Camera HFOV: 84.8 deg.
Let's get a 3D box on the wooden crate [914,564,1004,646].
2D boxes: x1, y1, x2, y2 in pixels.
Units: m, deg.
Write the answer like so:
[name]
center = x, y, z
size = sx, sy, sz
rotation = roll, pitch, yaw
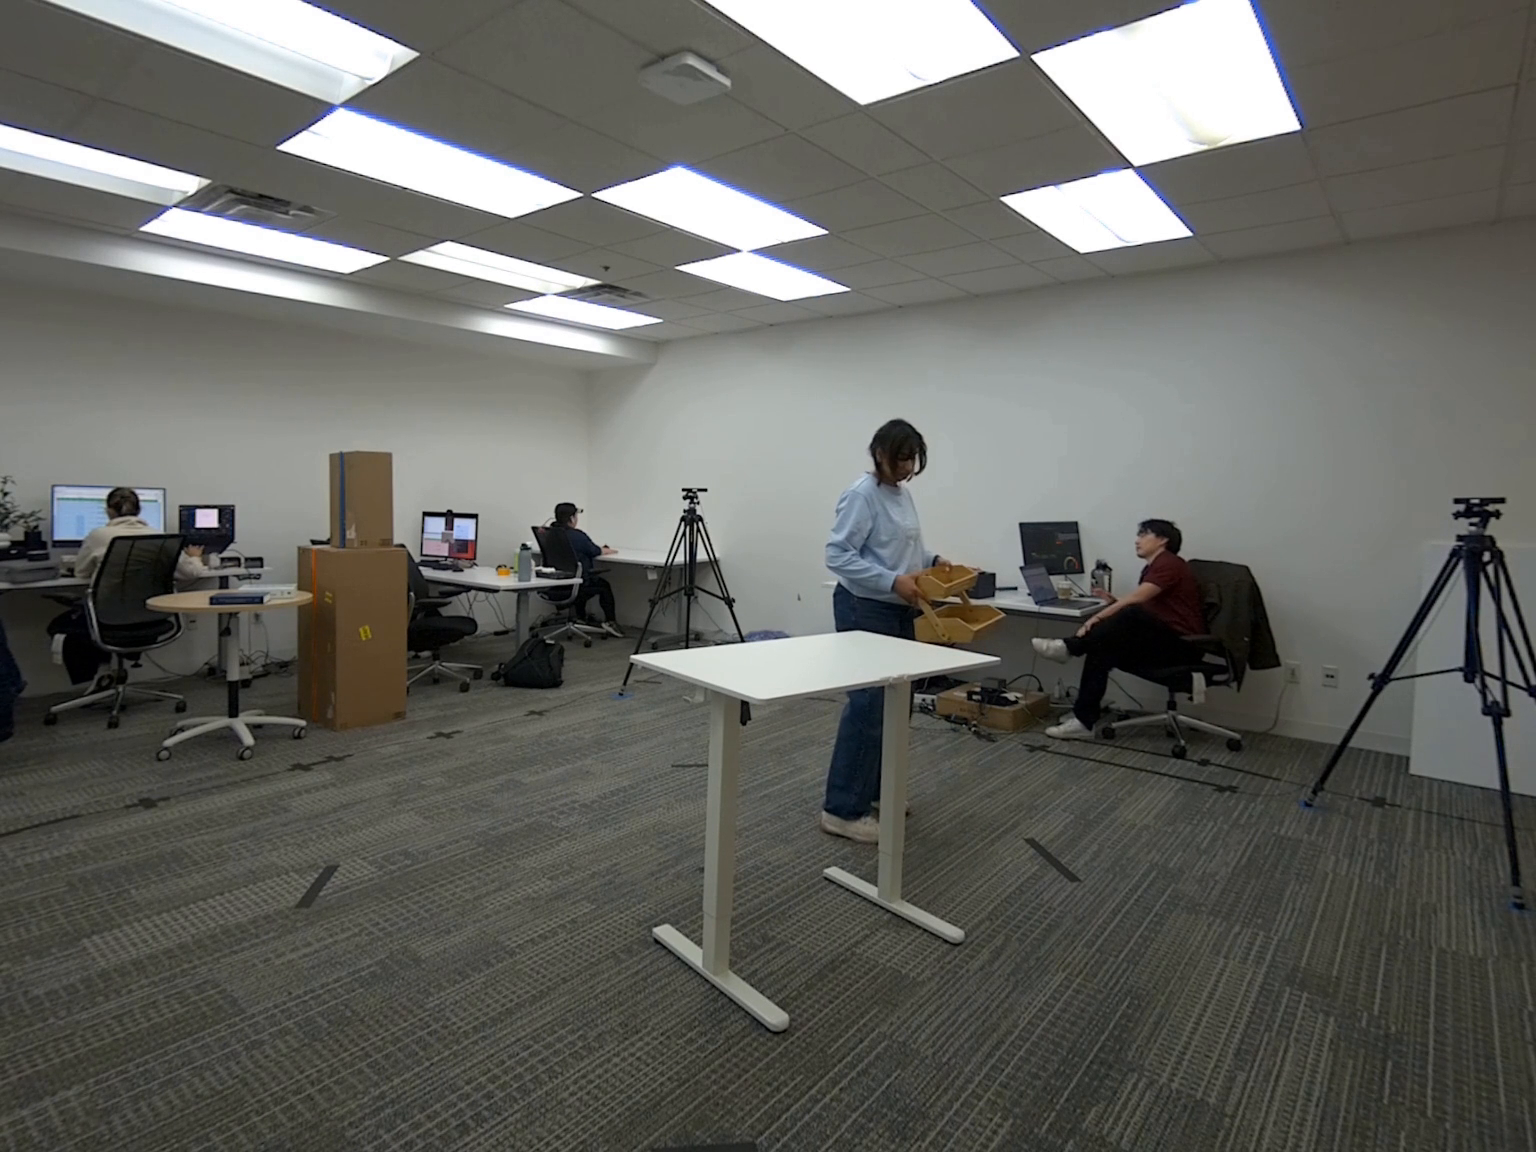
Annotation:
[wooden crate]
center = 0.731, 0.097, 3.414
size = 0.310, 0.272, 0.316
rotation = -6, 5, 40
